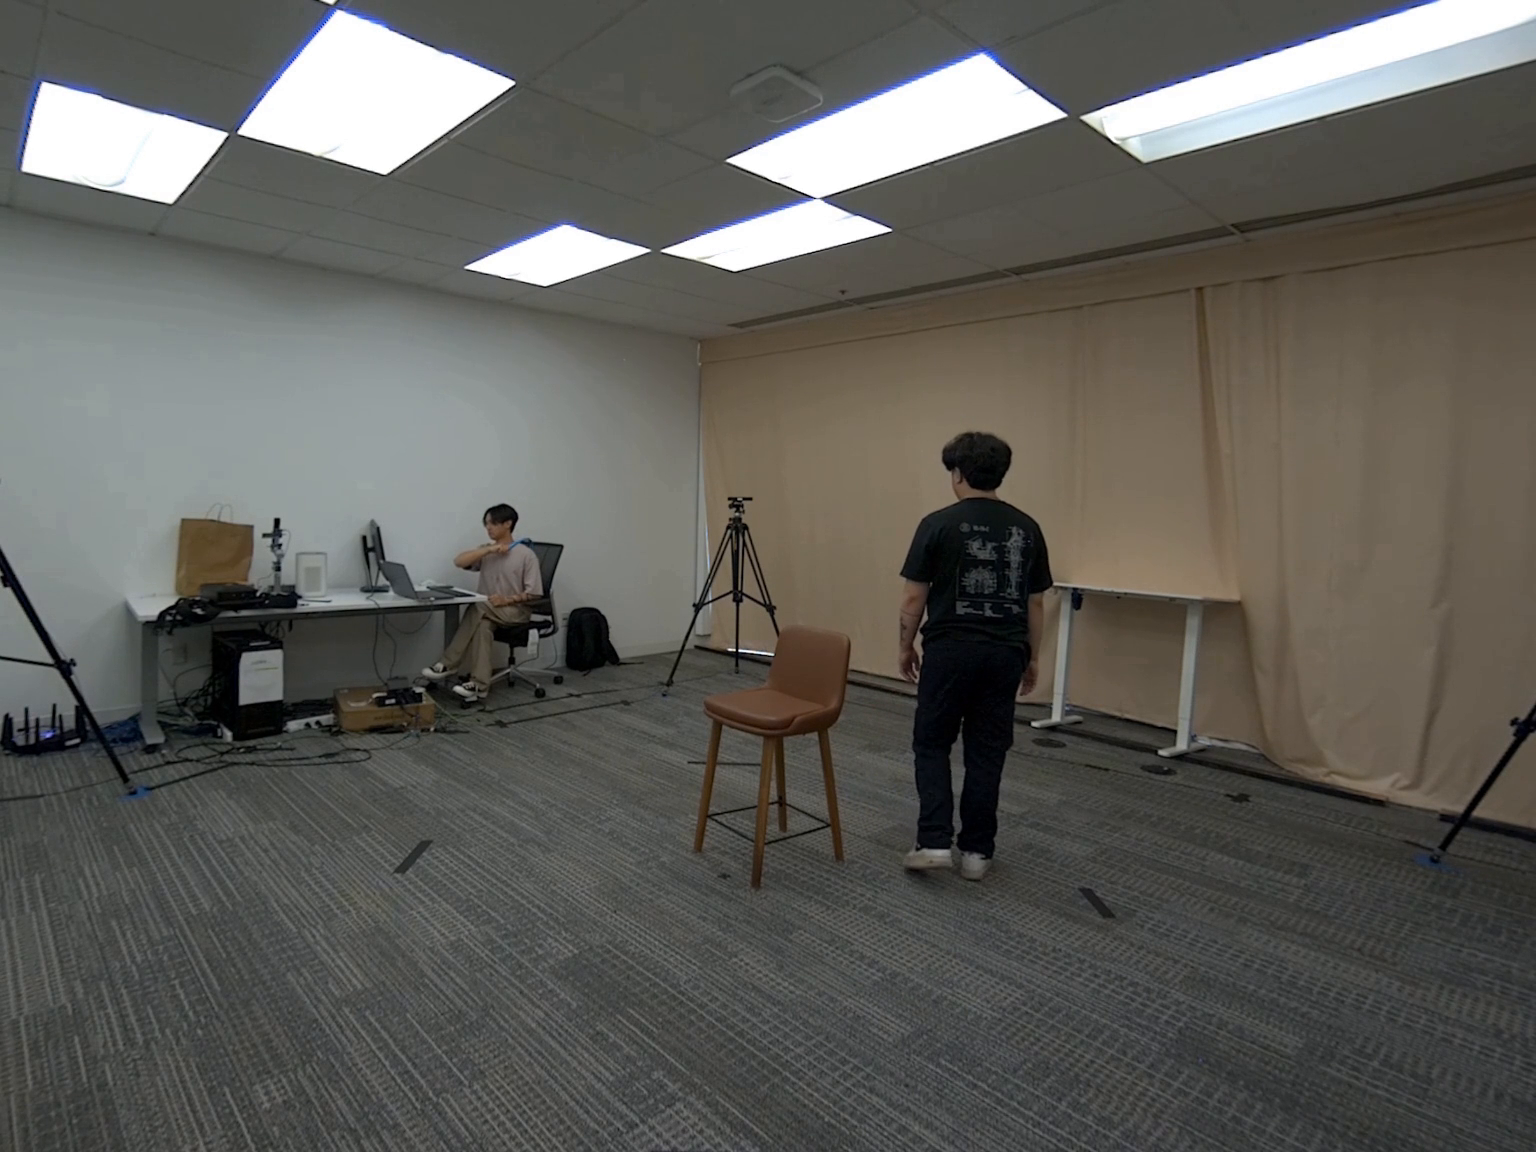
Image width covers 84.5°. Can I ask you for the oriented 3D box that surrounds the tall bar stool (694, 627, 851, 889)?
[{"bbox_3d":[0.019,0.658,3.272,0.457,0.889,0.468,2,2,-37],"label":"tall bar stool"}]
